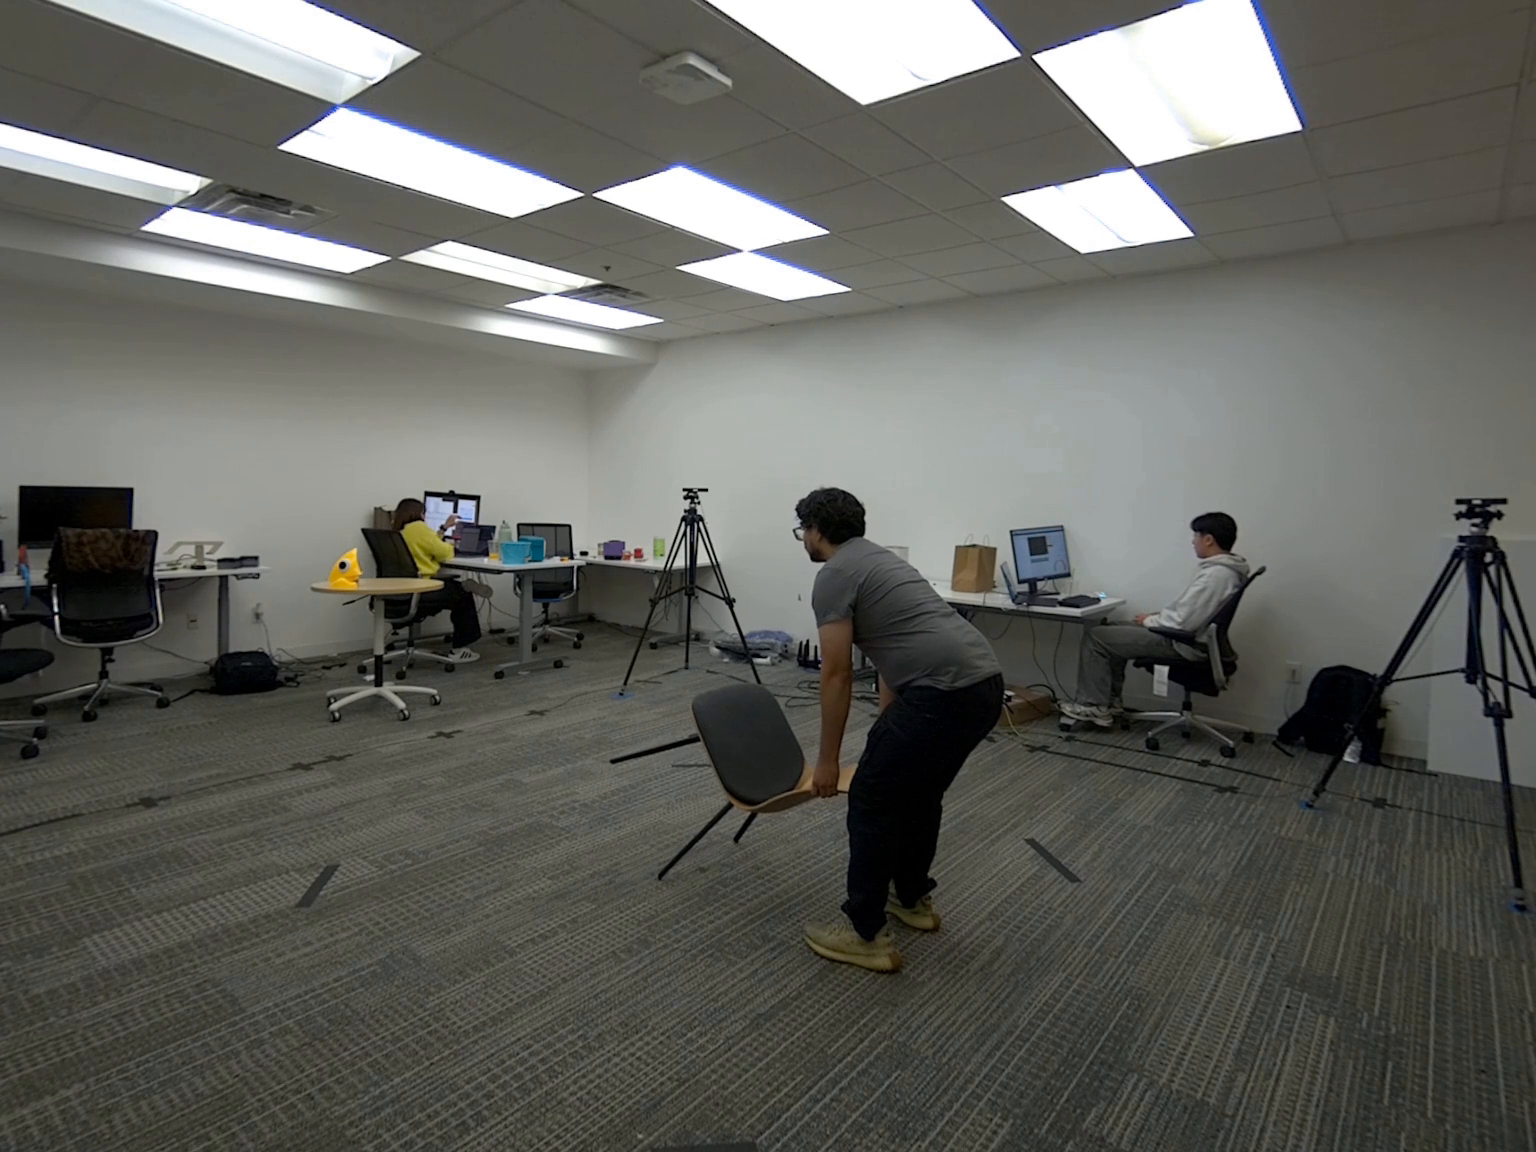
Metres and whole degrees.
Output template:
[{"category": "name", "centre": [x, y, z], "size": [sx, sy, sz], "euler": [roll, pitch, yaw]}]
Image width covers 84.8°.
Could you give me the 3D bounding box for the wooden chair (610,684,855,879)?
[{"category": "wooden chair", "centre": [-0.081, 0.642, 3.034], "size": [0.885, 0.534, 0.464], "euler": [-33, -18, 34]}]
